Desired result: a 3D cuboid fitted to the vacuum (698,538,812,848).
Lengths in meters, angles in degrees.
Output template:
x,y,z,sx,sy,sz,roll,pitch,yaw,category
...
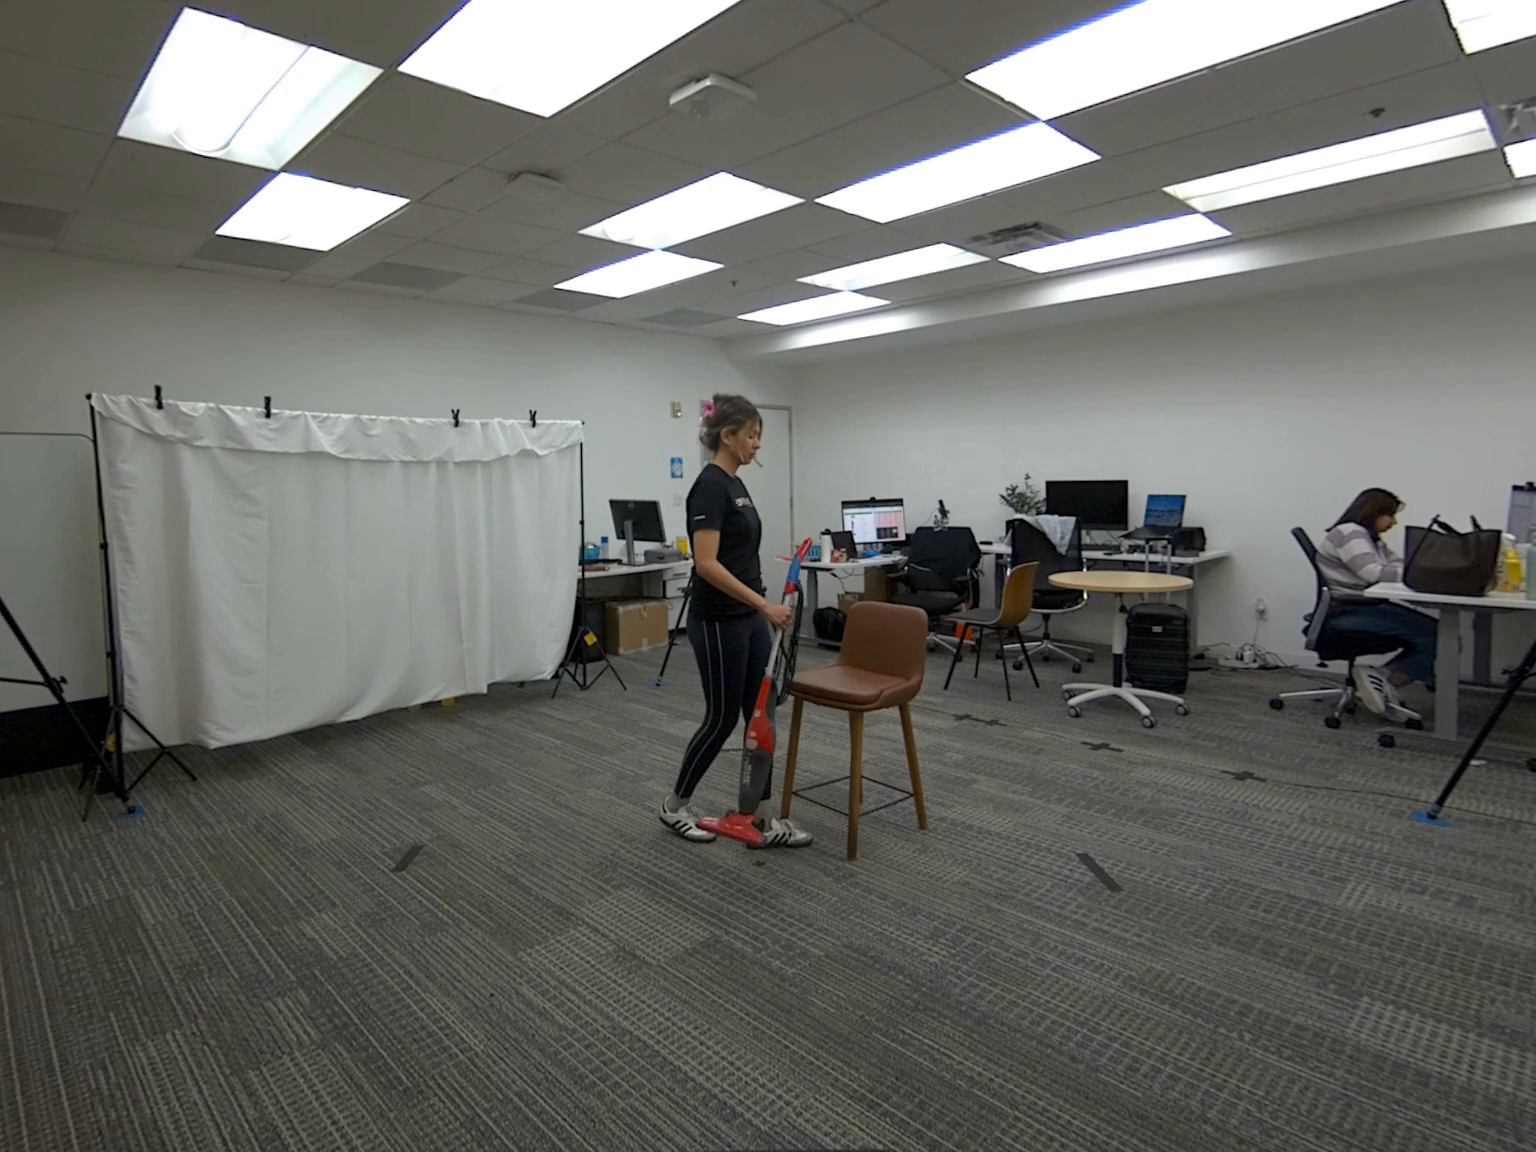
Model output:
x,y,z,sx,sy,sz,roll,pitch,yaw,category
0.031,0.364,2.982,0.260,1.060,0.138,3,-20,33,vacuum
